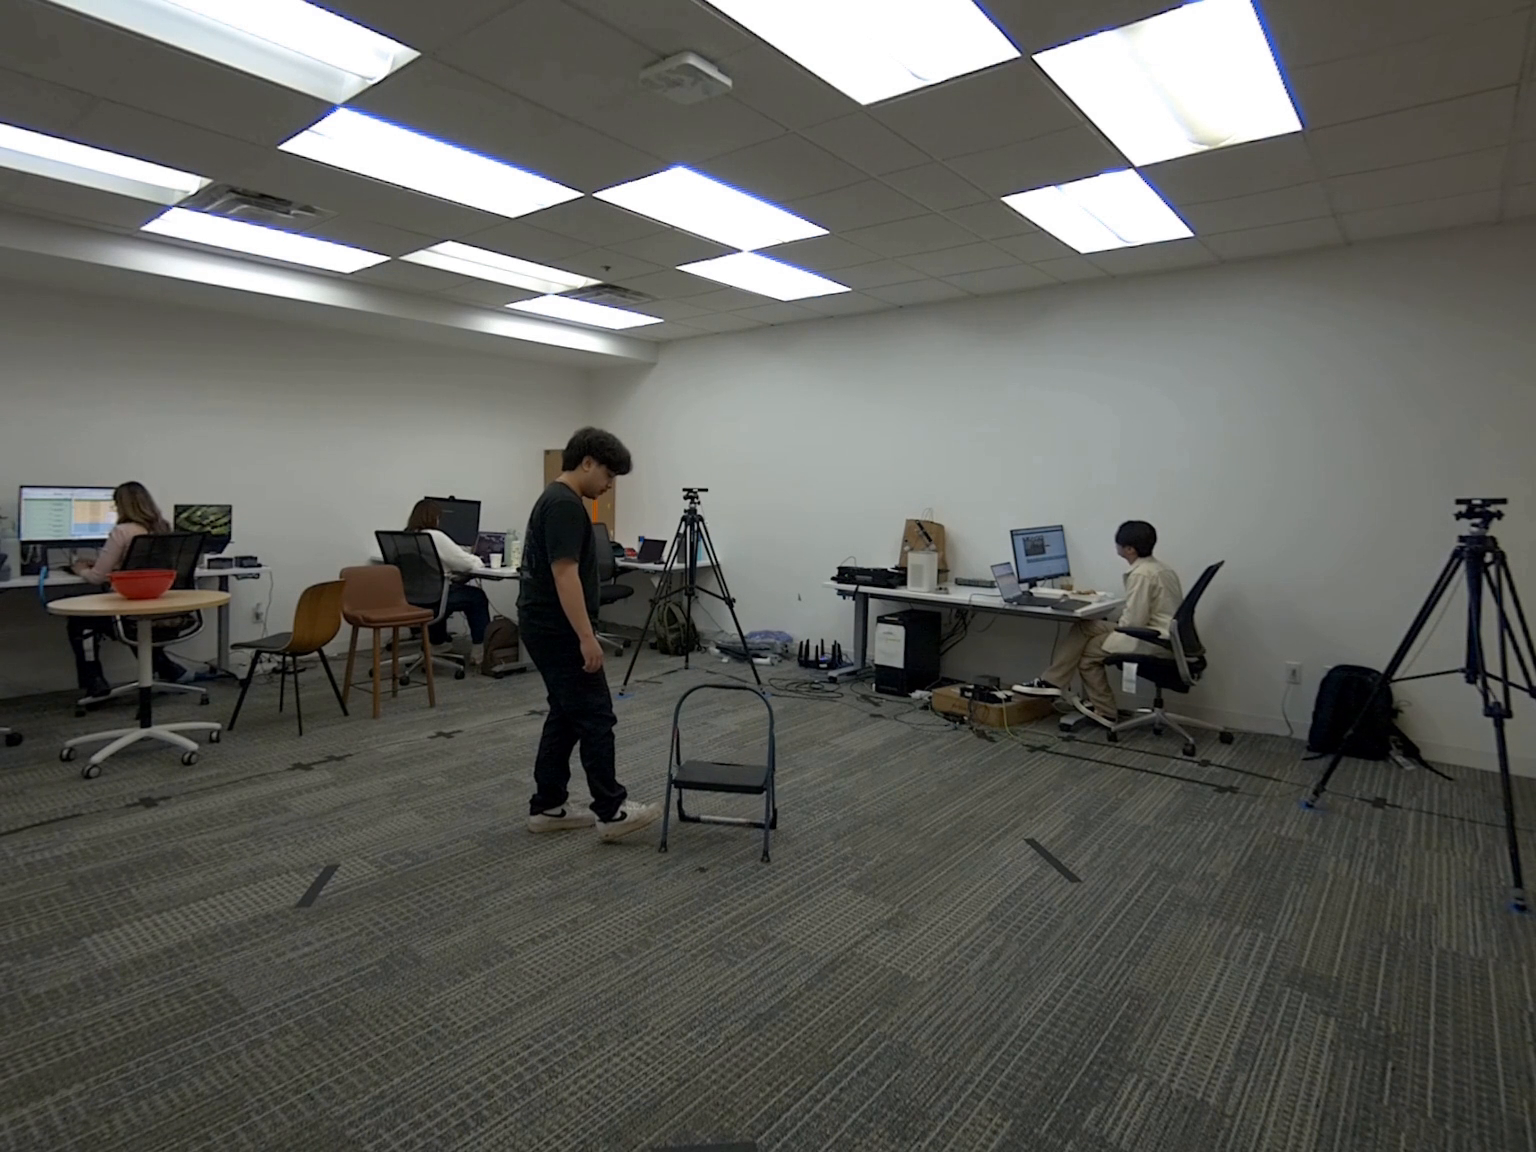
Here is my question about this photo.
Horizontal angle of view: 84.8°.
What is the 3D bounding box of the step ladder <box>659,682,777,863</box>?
[{"bbox_3d":[-0.186,0.746,3.368,0.435,0.604,0.347,1,4,8],"label":"step ladder"}]
